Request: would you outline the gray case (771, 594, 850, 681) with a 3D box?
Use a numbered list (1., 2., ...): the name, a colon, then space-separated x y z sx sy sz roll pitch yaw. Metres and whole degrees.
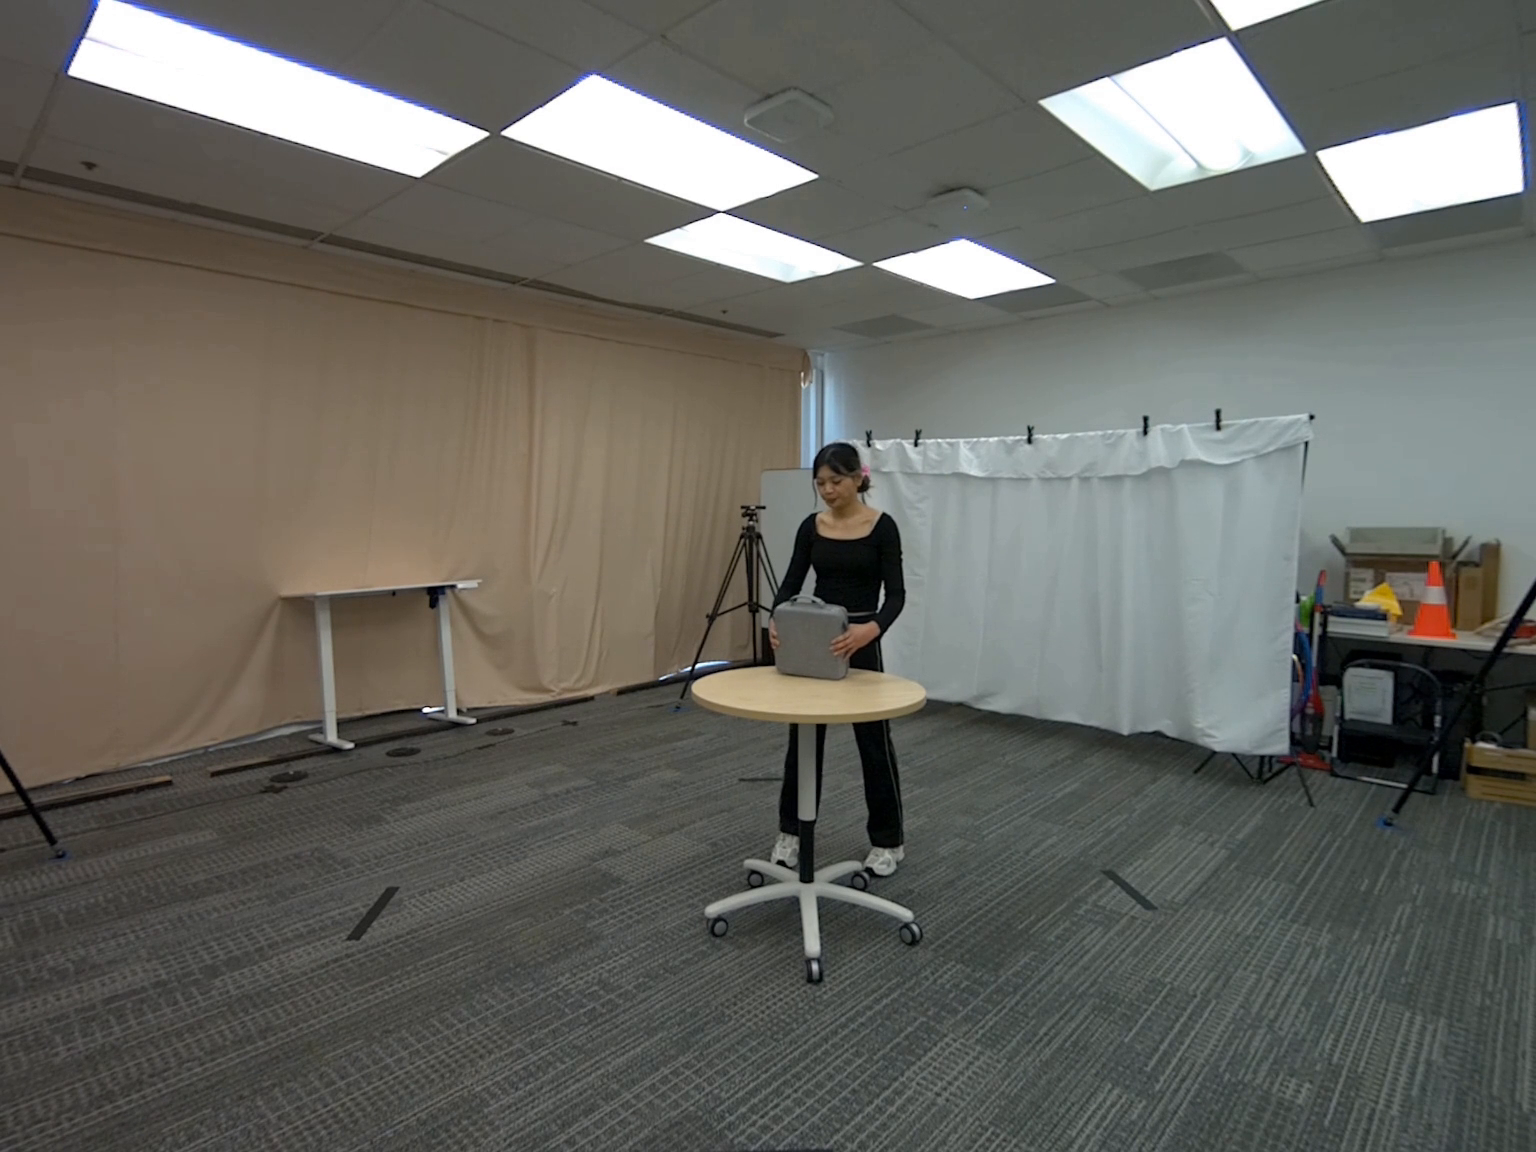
1. gray case: 0.153 0.222 2.951 0.264 0.259 0.102 3 11 27
